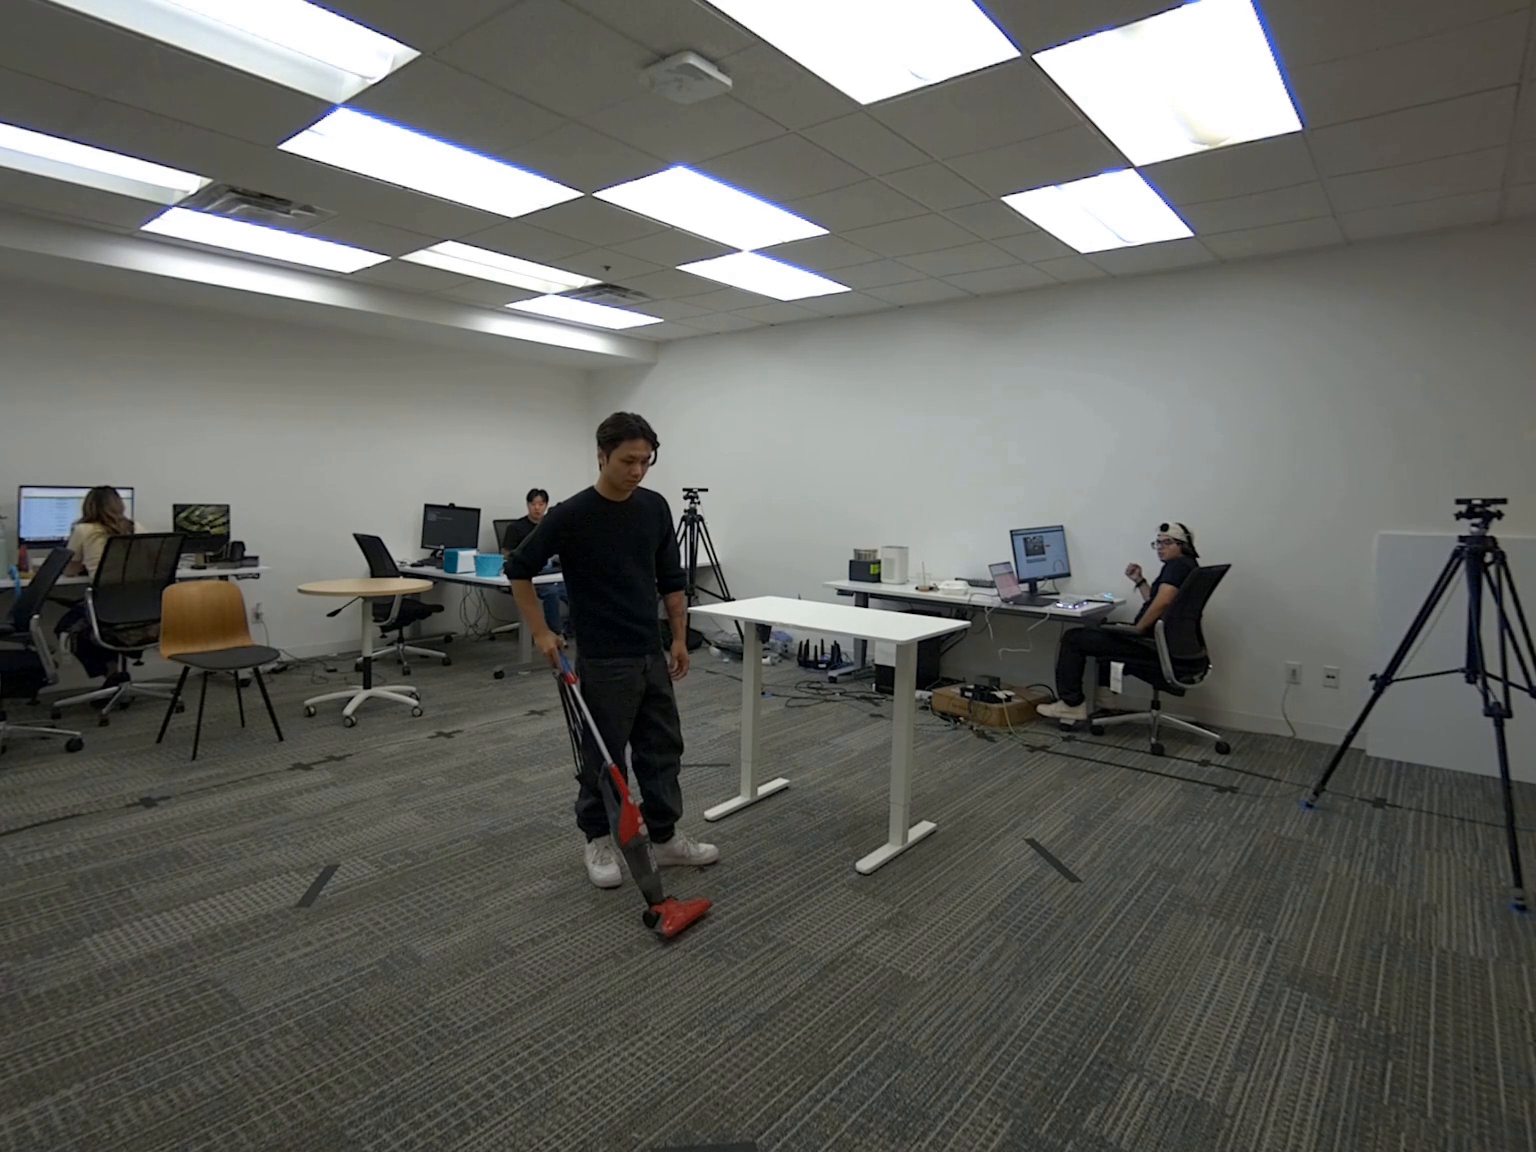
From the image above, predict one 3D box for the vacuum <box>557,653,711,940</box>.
[{"bbox_3d":[-0.558,0.655,2.839,0.145,1.071,0.246,-40,-16,27],"label":"vacuum"}]
